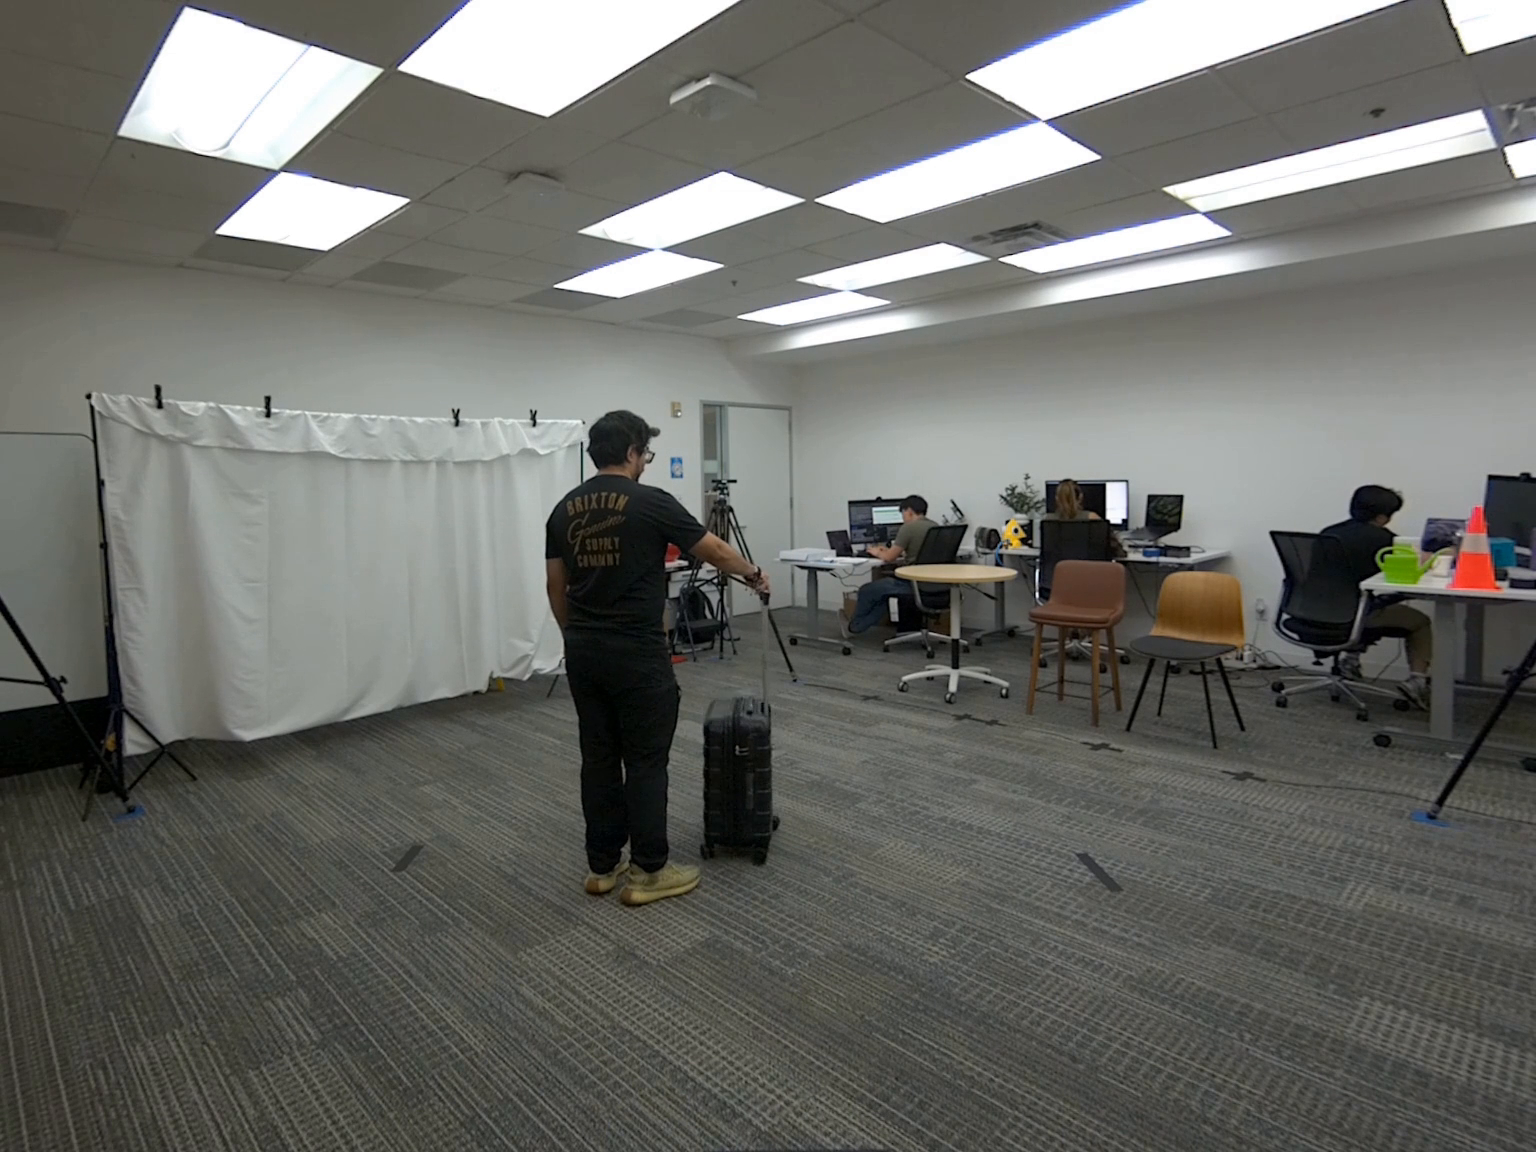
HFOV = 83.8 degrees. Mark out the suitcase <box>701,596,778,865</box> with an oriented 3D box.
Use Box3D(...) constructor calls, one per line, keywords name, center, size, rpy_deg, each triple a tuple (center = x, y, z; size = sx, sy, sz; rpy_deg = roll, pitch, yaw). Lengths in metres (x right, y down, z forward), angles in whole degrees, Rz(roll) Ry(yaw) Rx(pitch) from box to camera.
Box3D(name="suitcase", center=(-0.111, 0.556, 3.255), size=(0.258, 0.975, 0.384), rpy_deg=(-1, 4, 2))
